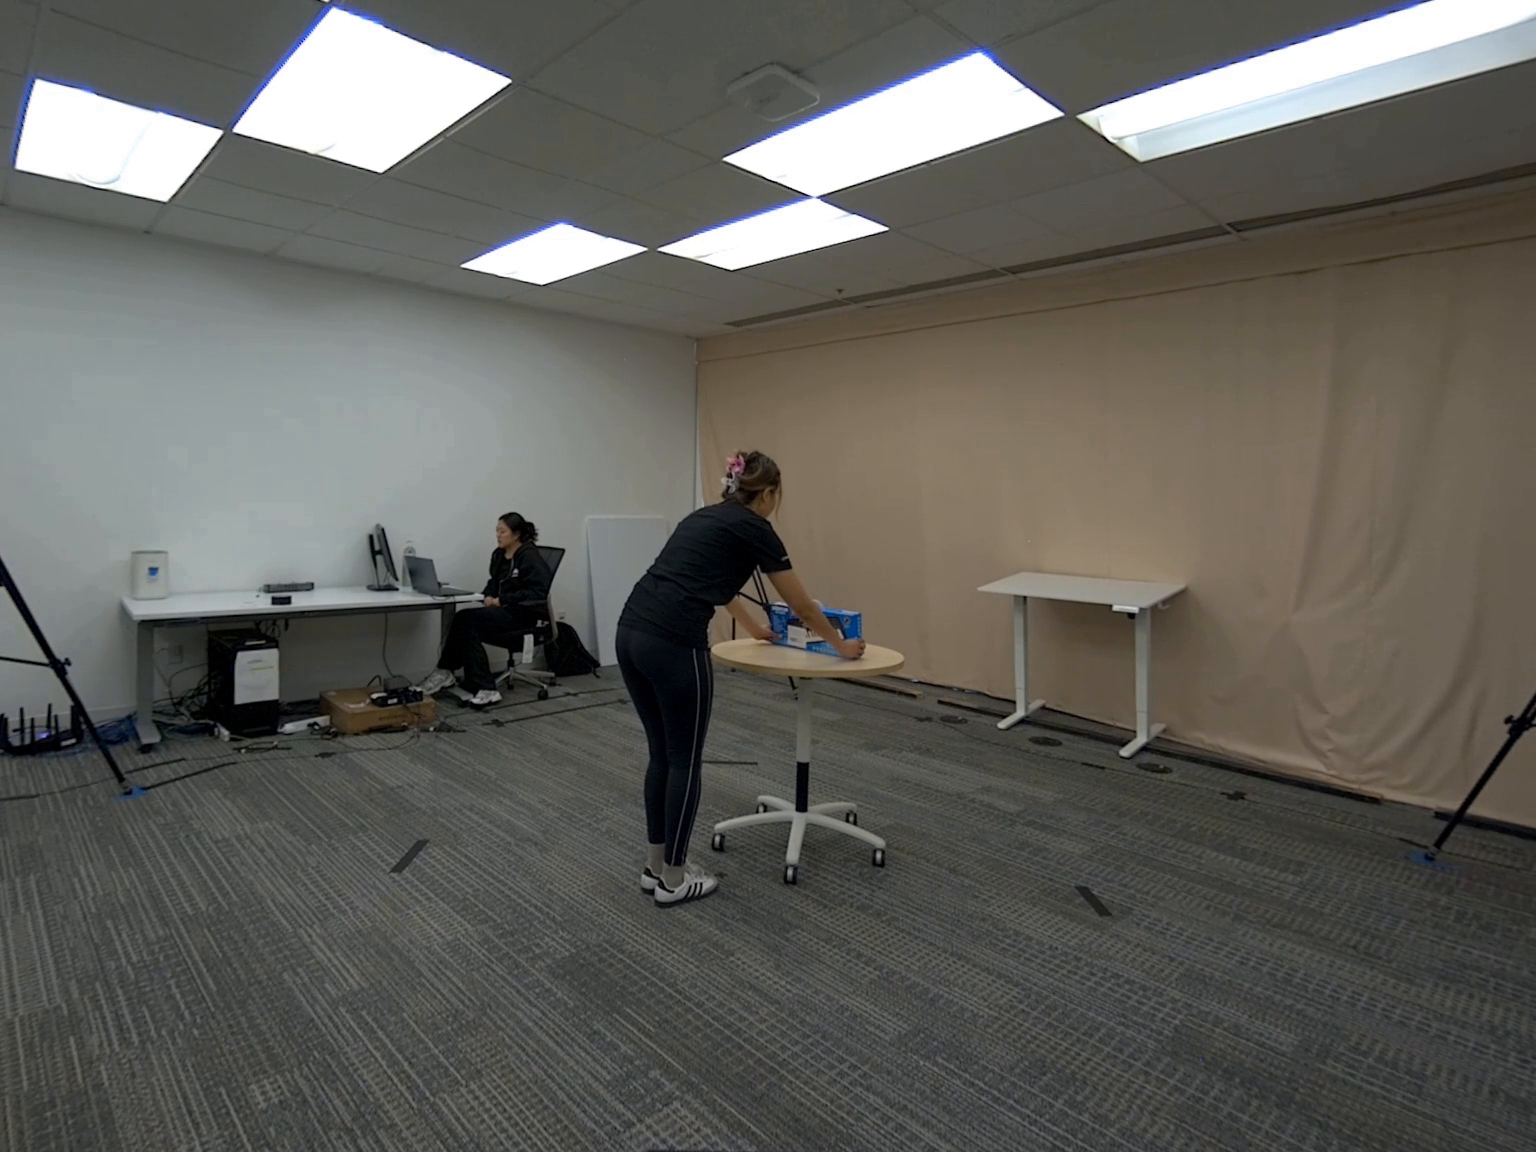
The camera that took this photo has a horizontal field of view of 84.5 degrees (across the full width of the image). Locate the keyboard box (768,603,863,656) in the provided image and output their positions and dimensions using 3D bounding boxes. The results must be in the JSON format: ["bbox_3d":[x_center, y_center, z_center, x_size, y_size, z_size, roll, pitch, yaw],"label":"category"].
[{"bbox_3d":[0.183,0.217,3.397,0.058,0.175,0.448,-9,10,-43],"label":"keyboard box"}]
